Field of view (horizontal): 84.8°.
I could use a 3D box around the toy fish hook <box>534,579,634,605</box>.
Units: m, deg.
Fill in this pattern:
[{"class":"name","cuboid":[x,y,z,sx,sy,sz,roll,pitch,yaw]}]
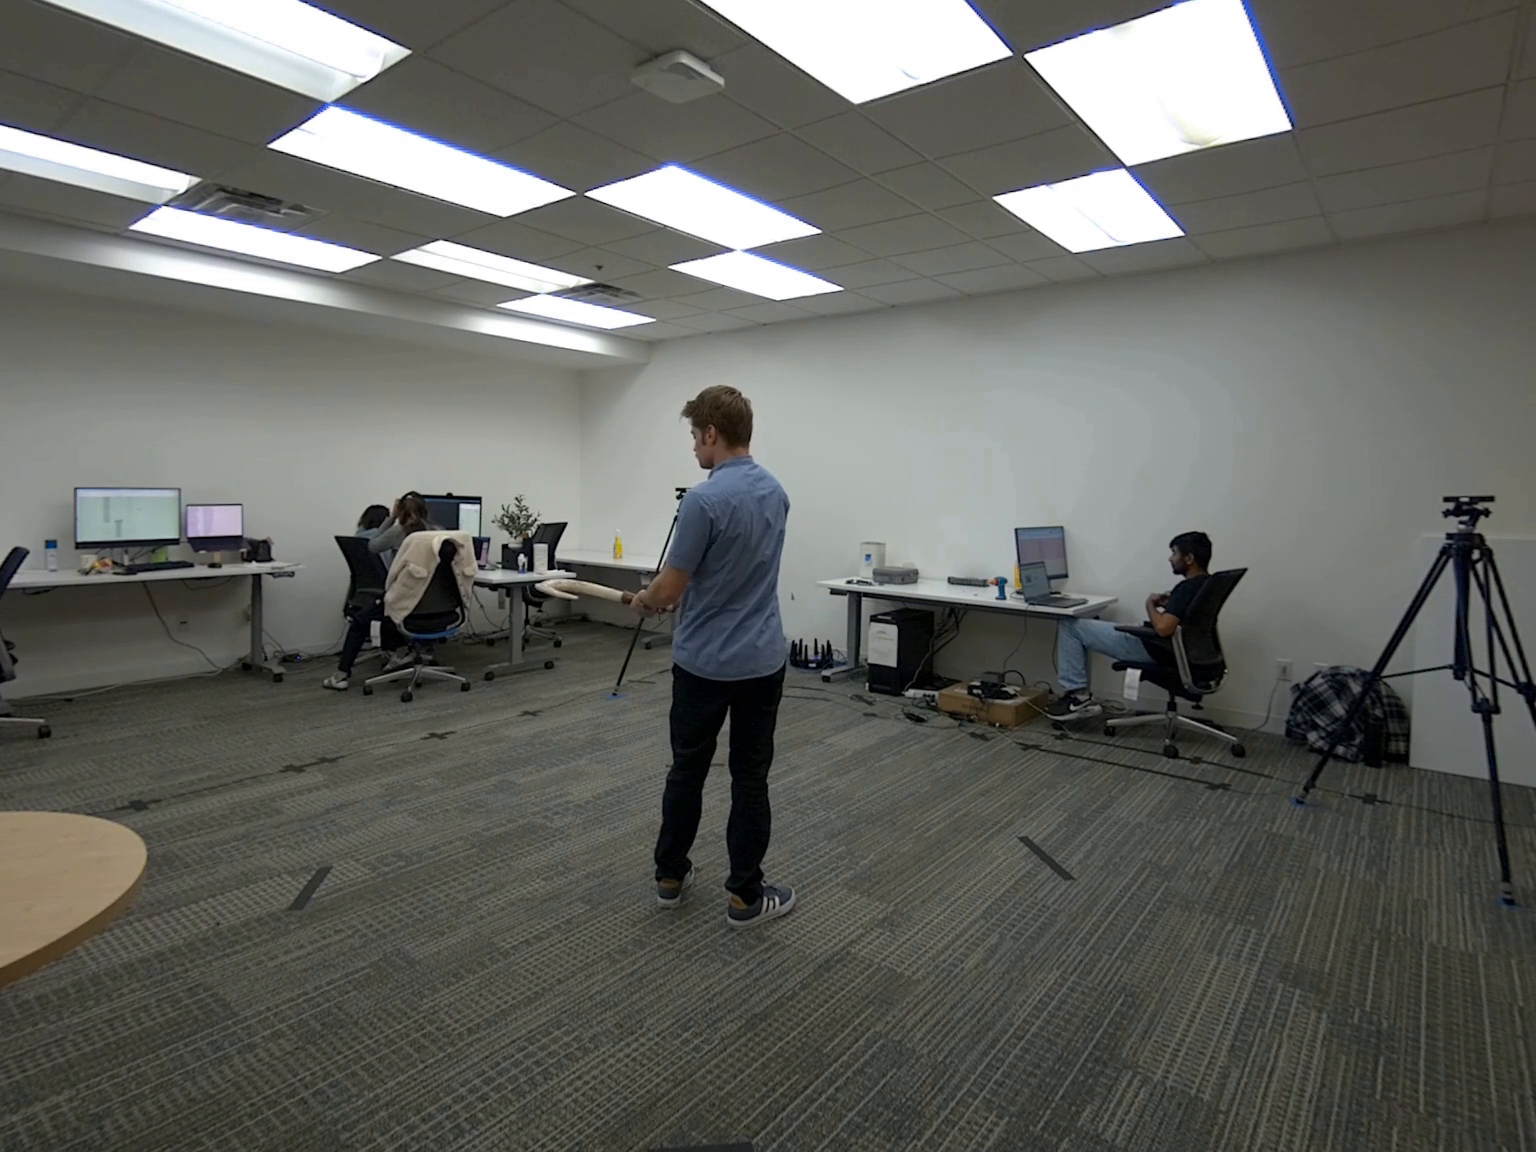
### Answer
[{"class":"toy fish hook","cuboid":[-0.564,0.077,2.967,0.519,0.048,0.221,9,12,21]}]
